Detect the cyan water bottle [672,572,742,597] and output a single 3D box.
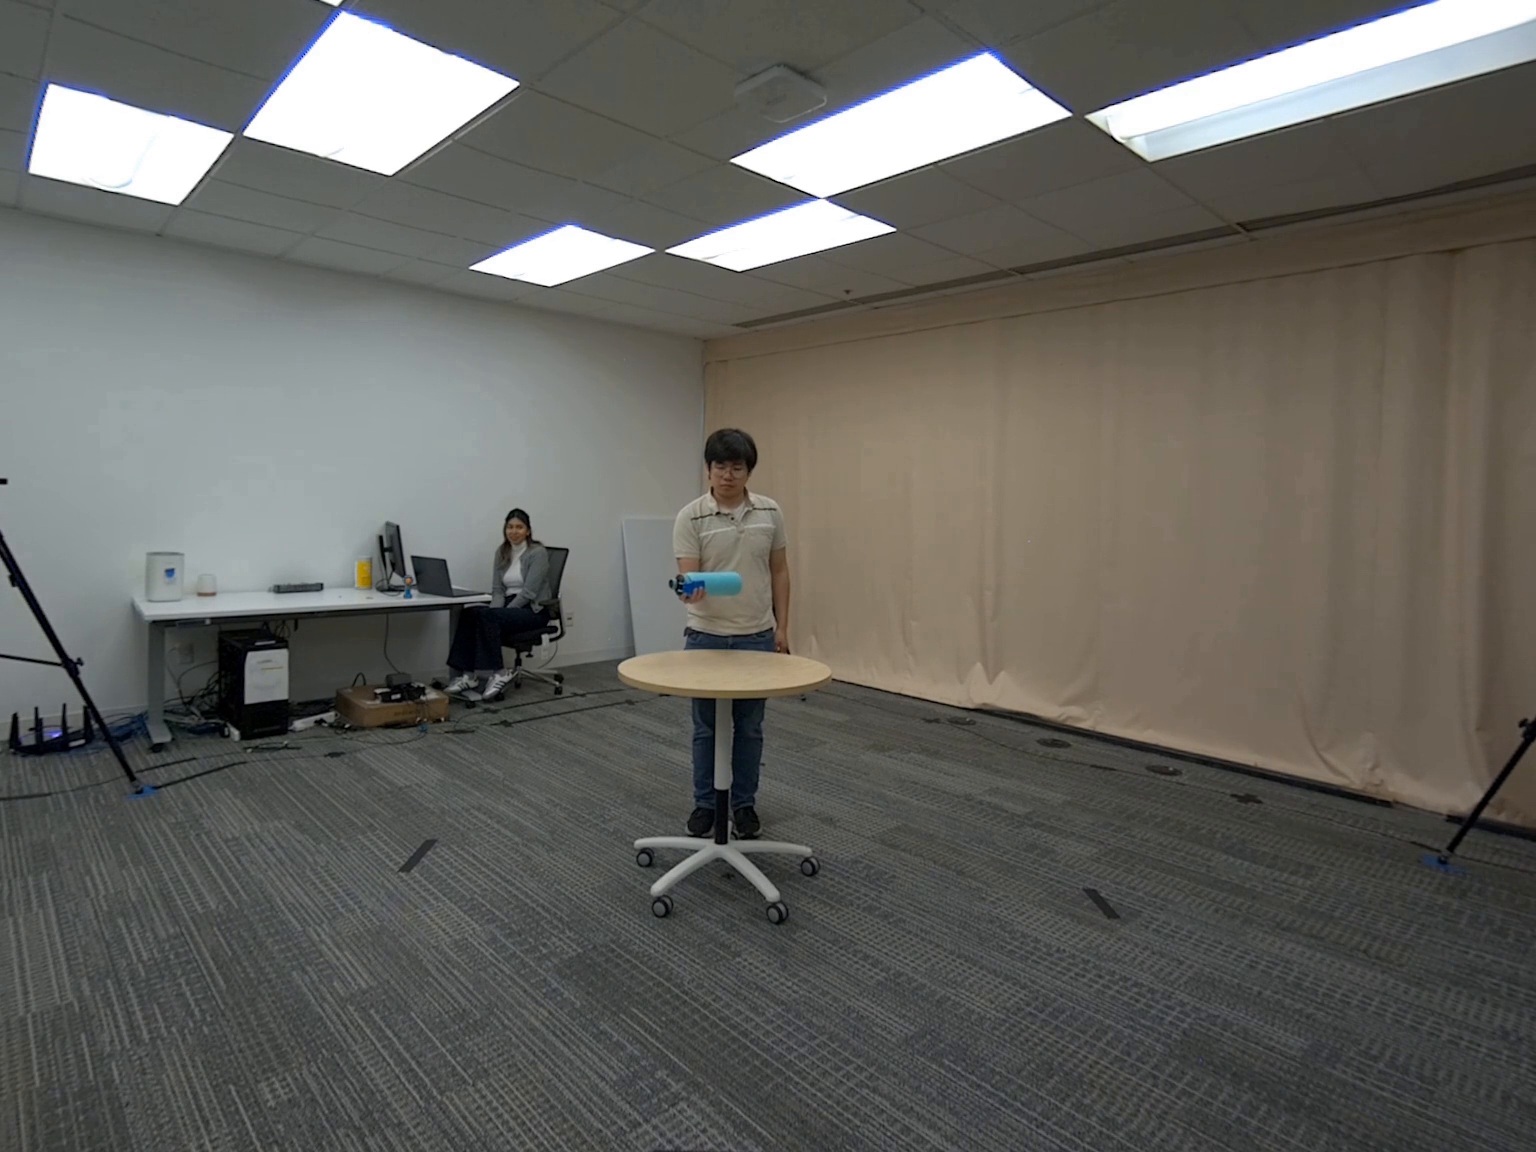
[{"bbox_3d":[-0.236,0.031,3.097,0.277,0.092,0.095,-1,4,-43],"label":"cyan water bottle"}]
